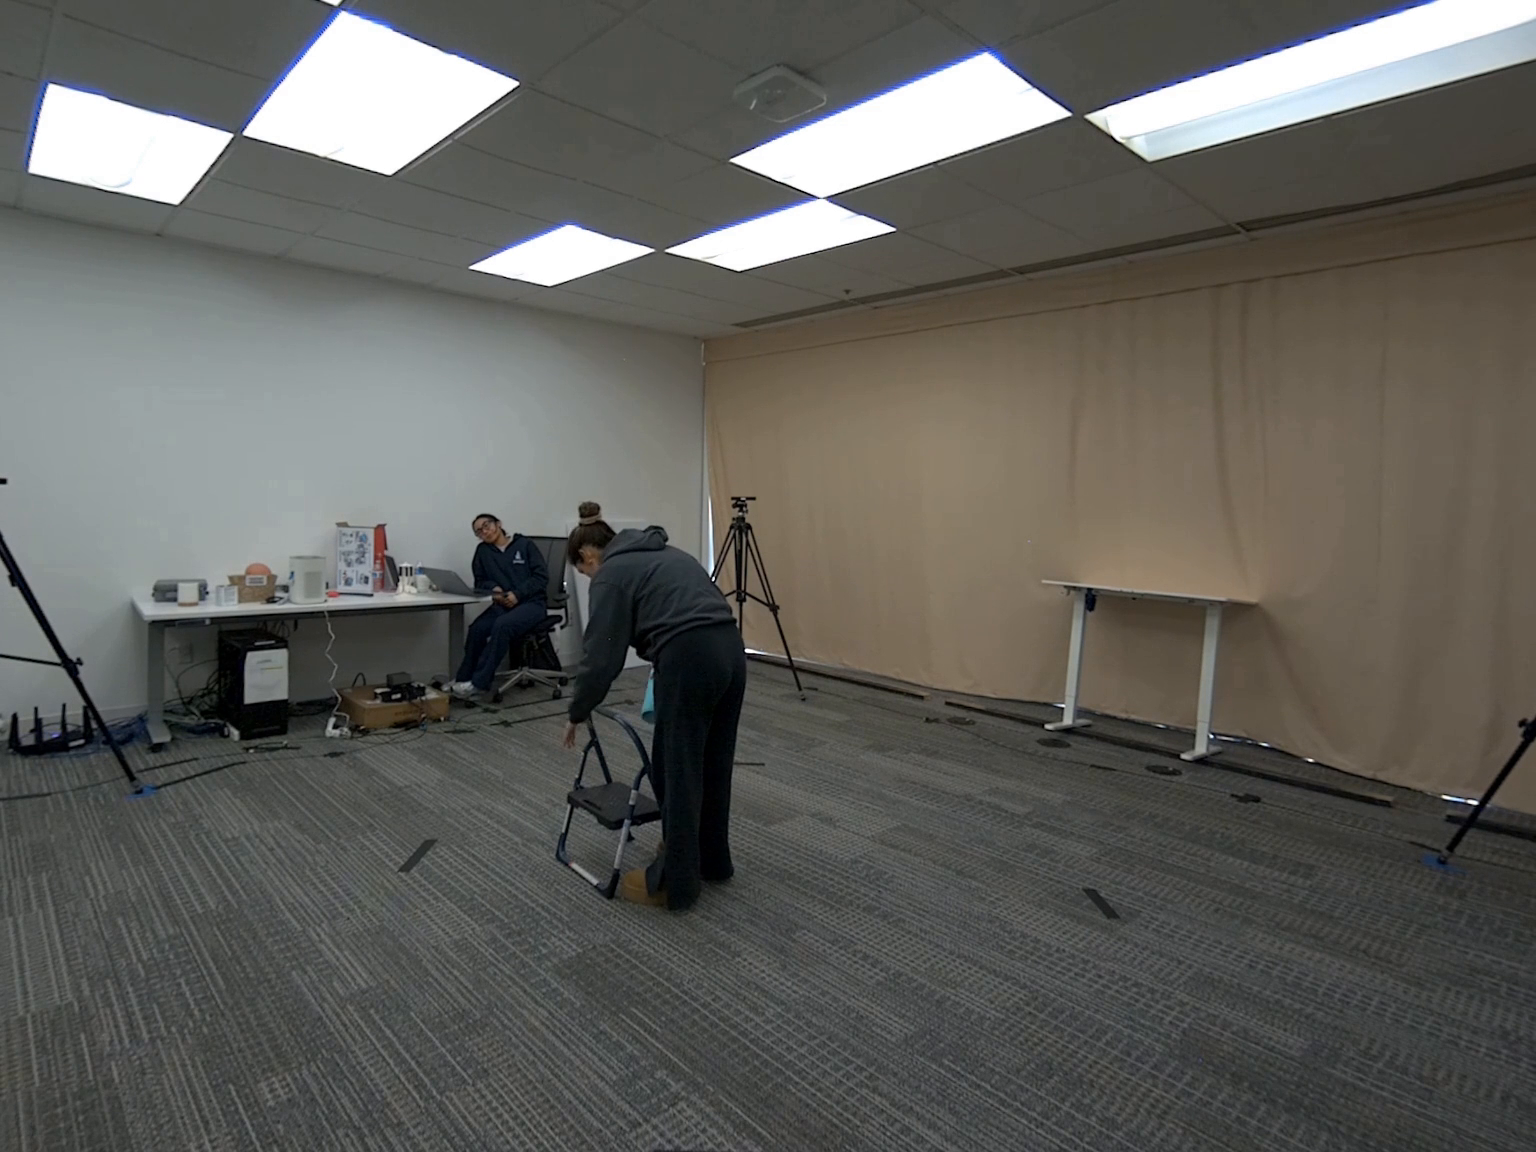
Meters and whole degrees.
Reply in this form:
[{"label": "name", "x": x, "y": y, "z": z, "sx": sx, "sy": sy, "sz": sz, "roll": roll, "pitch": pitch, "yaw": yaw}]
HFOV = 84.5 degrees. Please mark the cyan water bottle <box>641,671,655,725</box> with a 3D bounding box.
[{"label": "cyan water bottle", "x": -0.452, "y": 0.440, "z": 3.260, "sx": 0.093, "sy": 0.090, "sz": 0.289, "roll": 1, "pitch": 43, "yaw": 4}]
